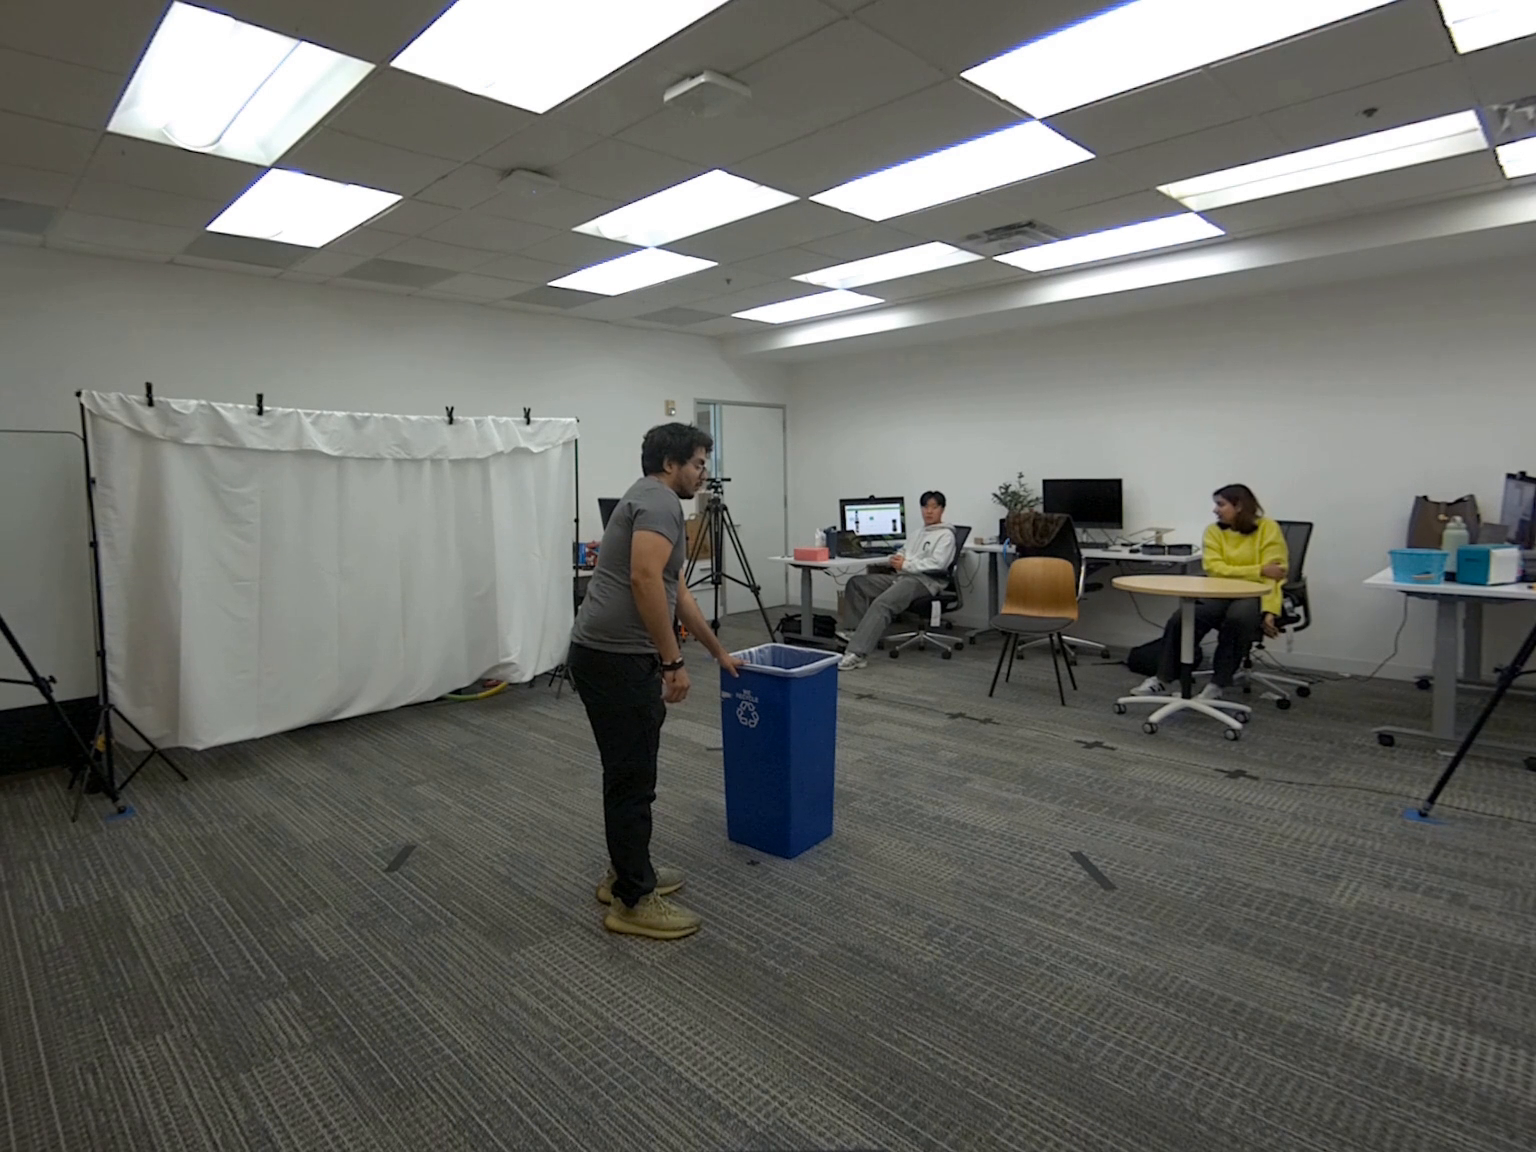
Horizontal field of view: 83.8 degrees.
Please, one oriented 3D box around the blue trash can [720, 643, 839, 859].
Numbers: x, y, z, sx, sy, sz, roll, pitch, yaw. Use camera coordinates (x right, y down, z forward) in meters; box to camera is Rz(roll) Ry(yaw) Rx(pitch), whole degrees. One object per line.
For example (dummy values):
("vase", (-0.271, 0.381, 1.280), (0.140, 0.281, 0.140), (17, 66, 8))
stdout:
("blue trash can", (0.054, 0.660, 3.303), (0.385, 0.711, 0.368), (3, 6, 38))
